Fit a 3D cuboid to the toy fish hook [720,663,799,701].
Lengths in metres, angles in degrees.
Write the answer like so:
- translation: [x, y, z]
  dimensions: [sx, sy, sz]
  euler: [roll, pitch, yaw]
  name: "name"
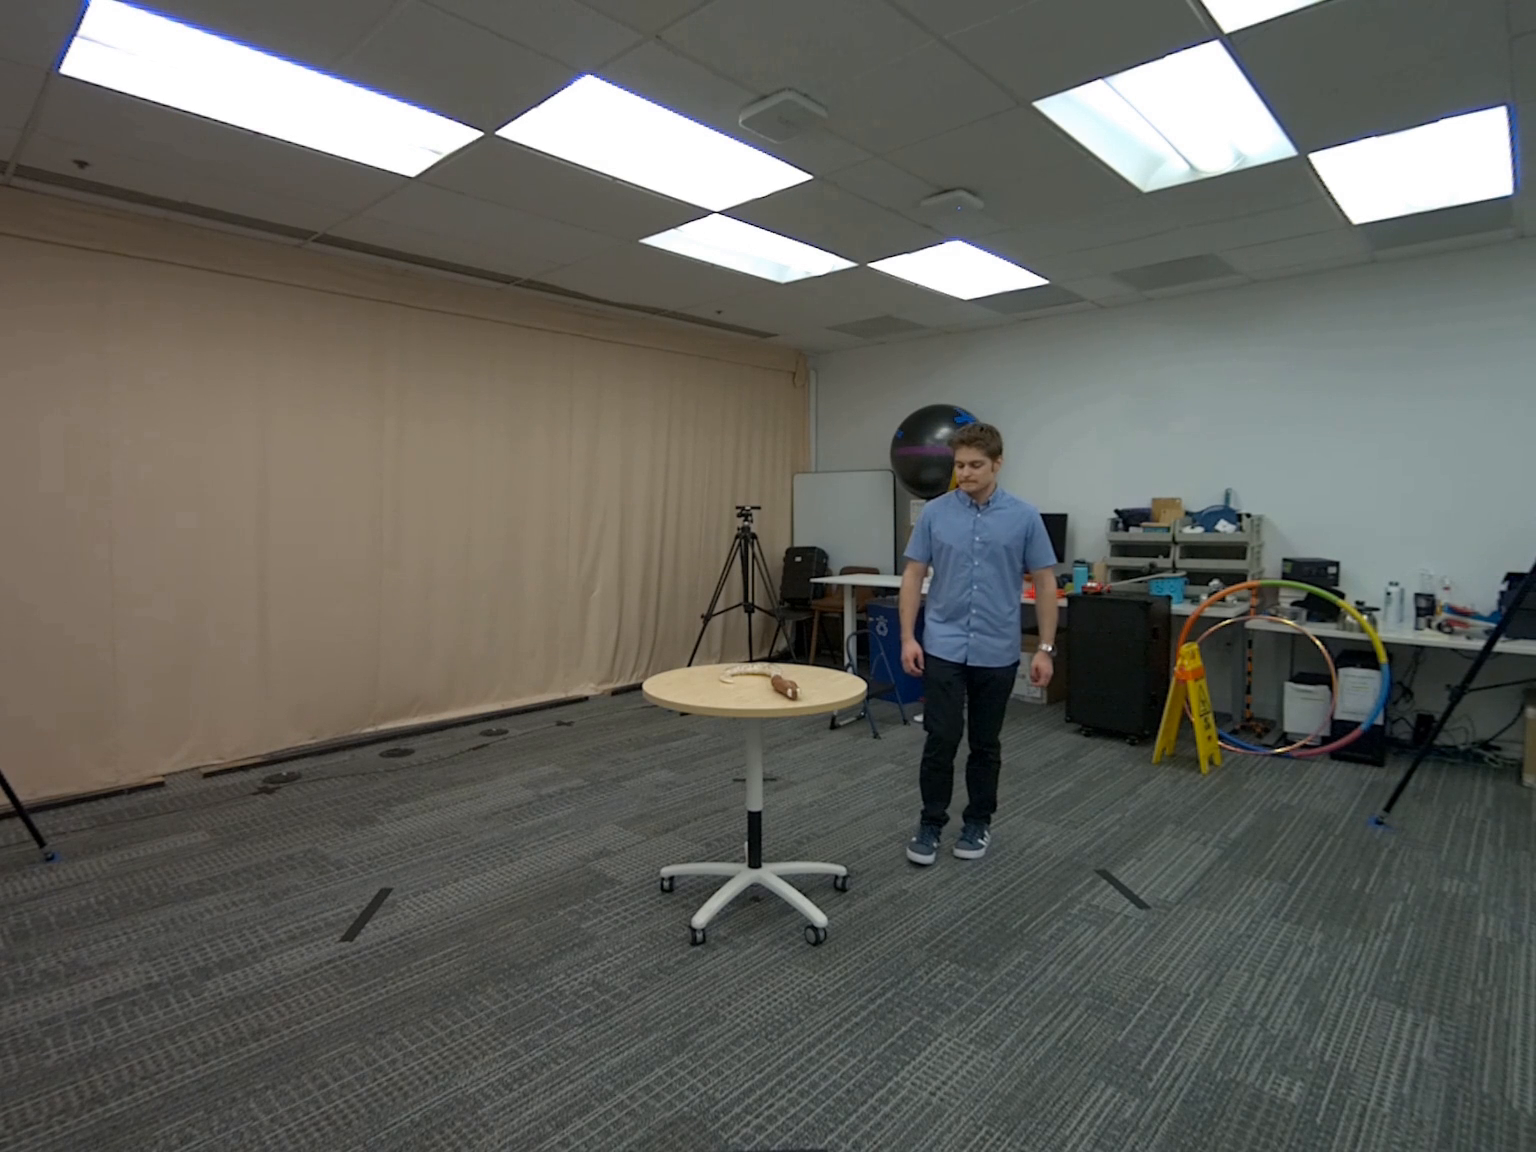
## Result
- translation: [-0.024, 0.362, 2.846]
  dimensions: [0.222, 0.048, 0.514]
  euler: [-8, 5, -13]
  name: "toy fish hook"
